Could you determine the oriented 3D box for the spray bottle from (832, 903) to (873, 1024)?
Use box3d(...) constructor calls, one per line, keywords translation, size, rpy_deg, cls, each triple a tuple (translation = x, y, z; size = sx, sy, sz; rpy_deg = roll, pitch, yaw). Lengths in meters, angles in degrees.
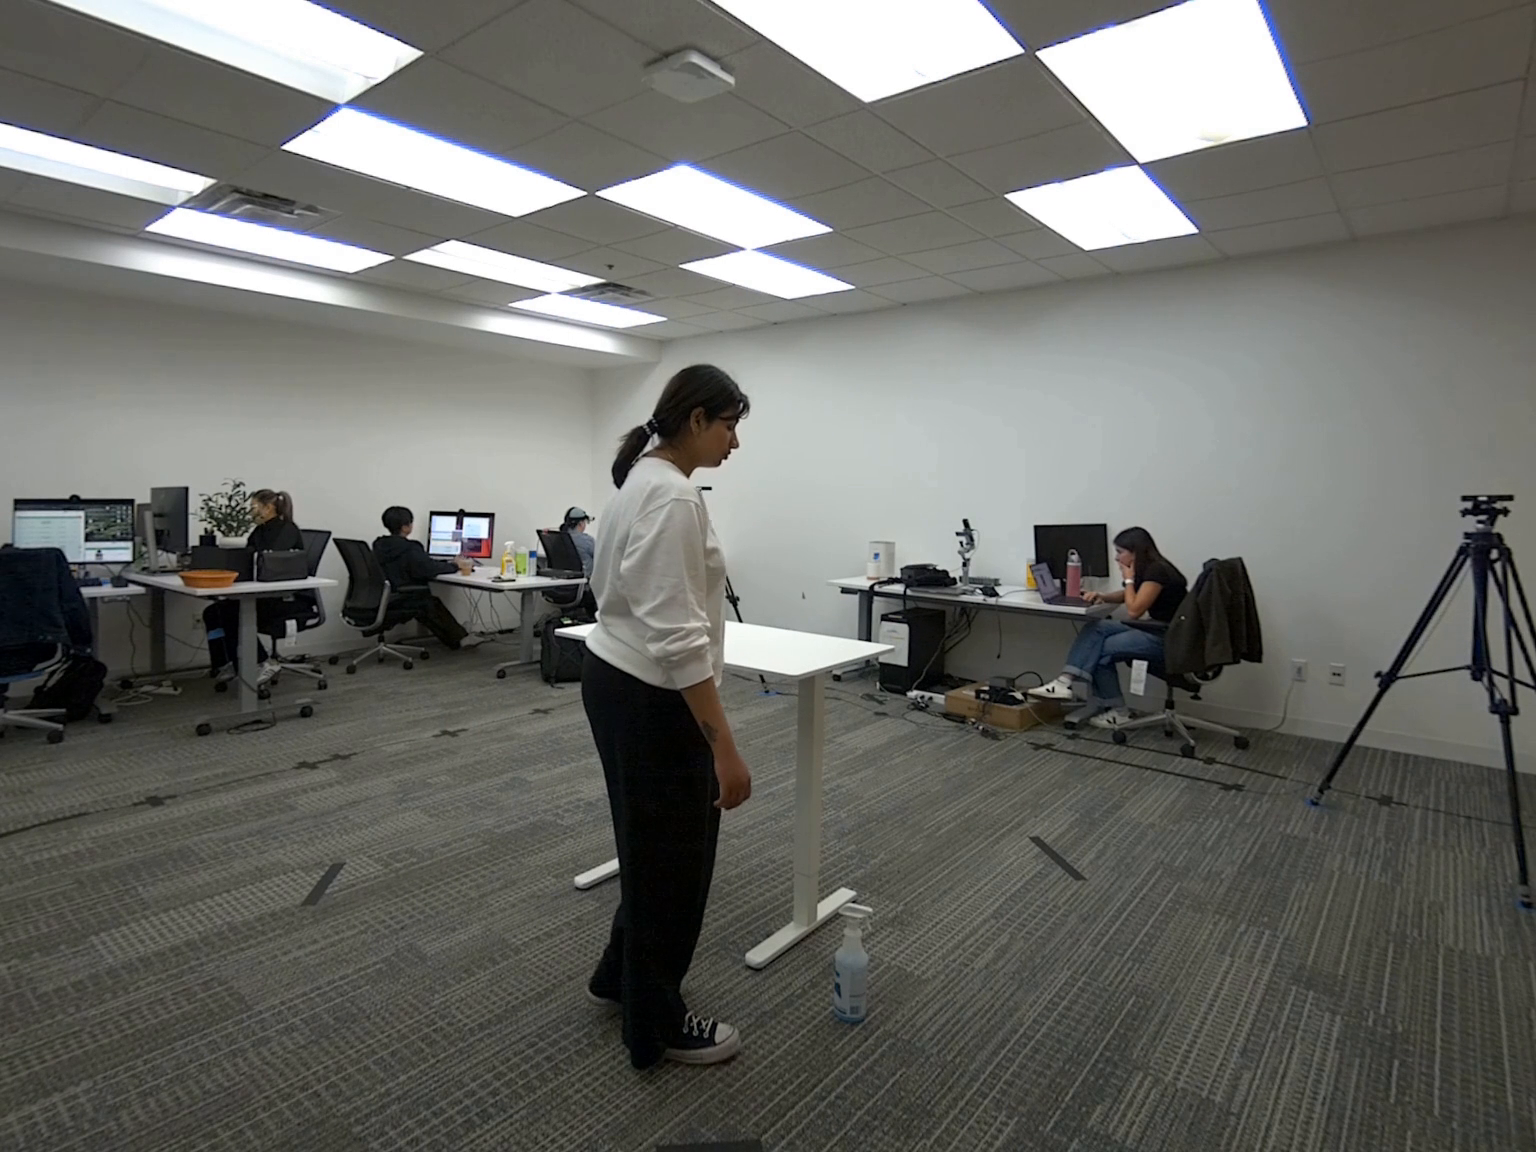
box3d(translation=(0.218, 1.016, 2.253), size=(0.084, 0.296, 0.093), rpy_deg=(0, 5, -39), cls="spray bottle")
